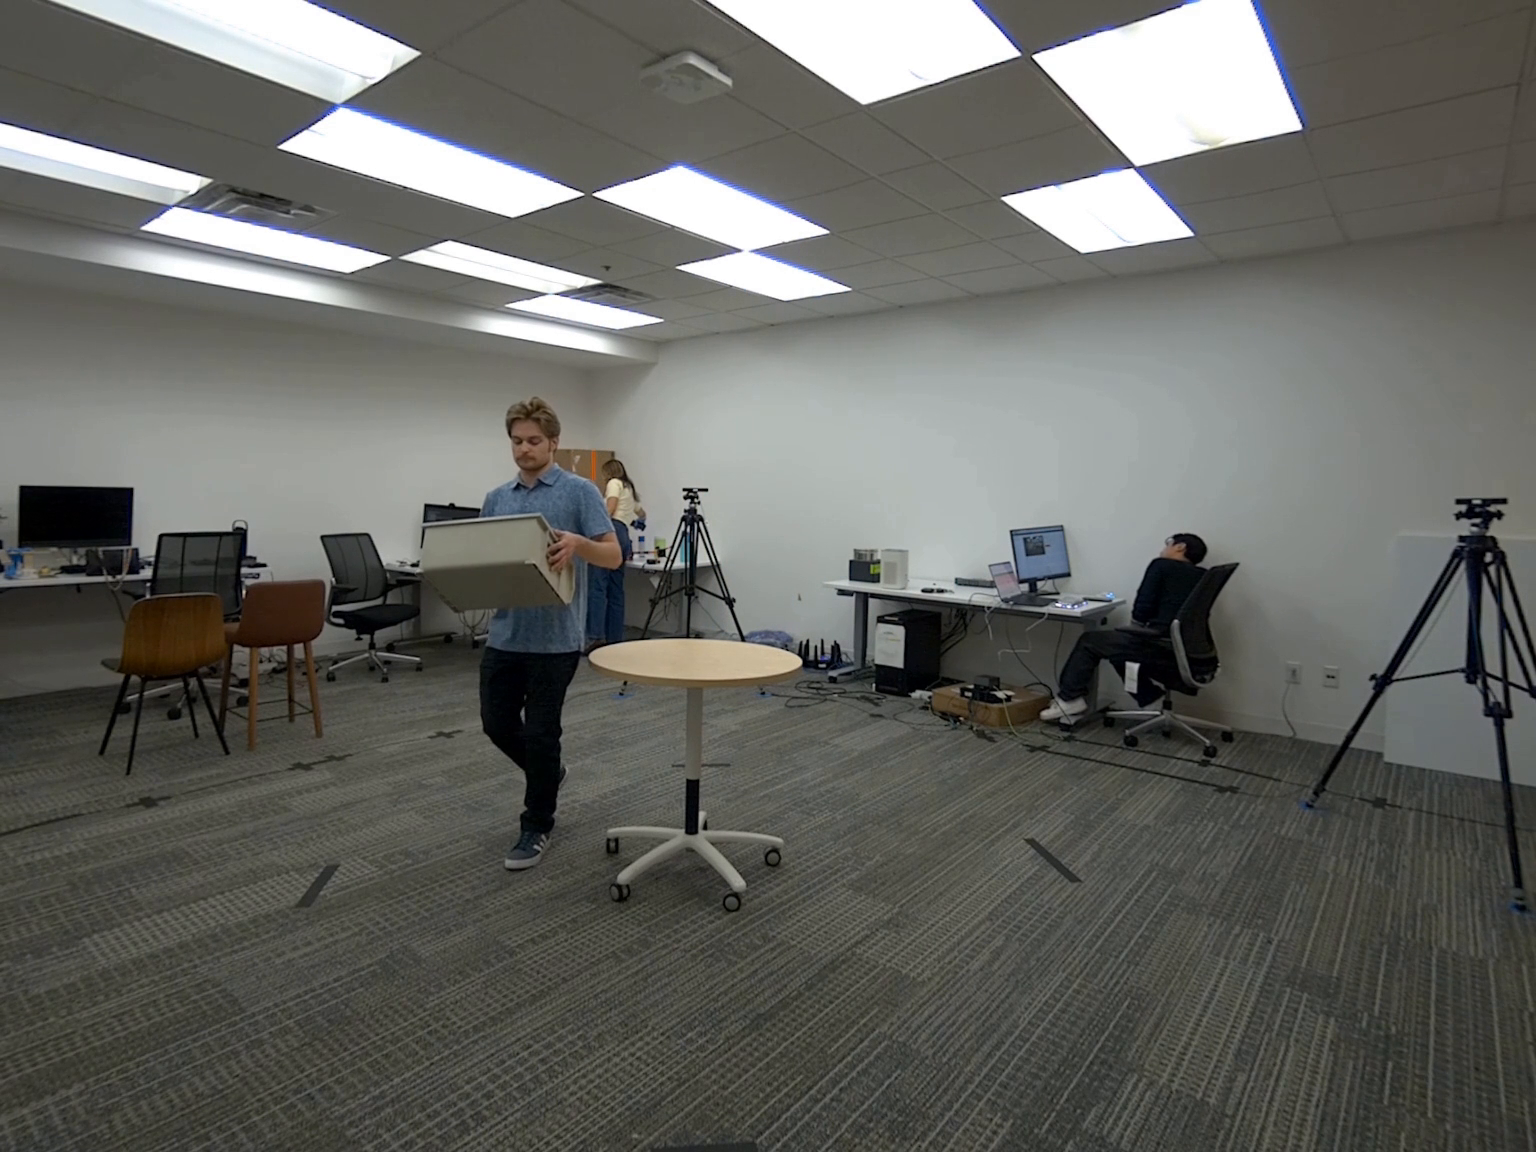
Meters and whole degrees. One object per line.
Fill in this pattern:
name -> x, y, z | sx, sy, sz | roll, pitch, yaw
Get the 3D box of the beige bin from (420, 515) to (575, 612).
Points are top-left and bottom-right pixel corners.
beige bin -> -0.937, -0.029, 2.914 | 0.426, 0.194, 0.365 | -4, -28, 7
